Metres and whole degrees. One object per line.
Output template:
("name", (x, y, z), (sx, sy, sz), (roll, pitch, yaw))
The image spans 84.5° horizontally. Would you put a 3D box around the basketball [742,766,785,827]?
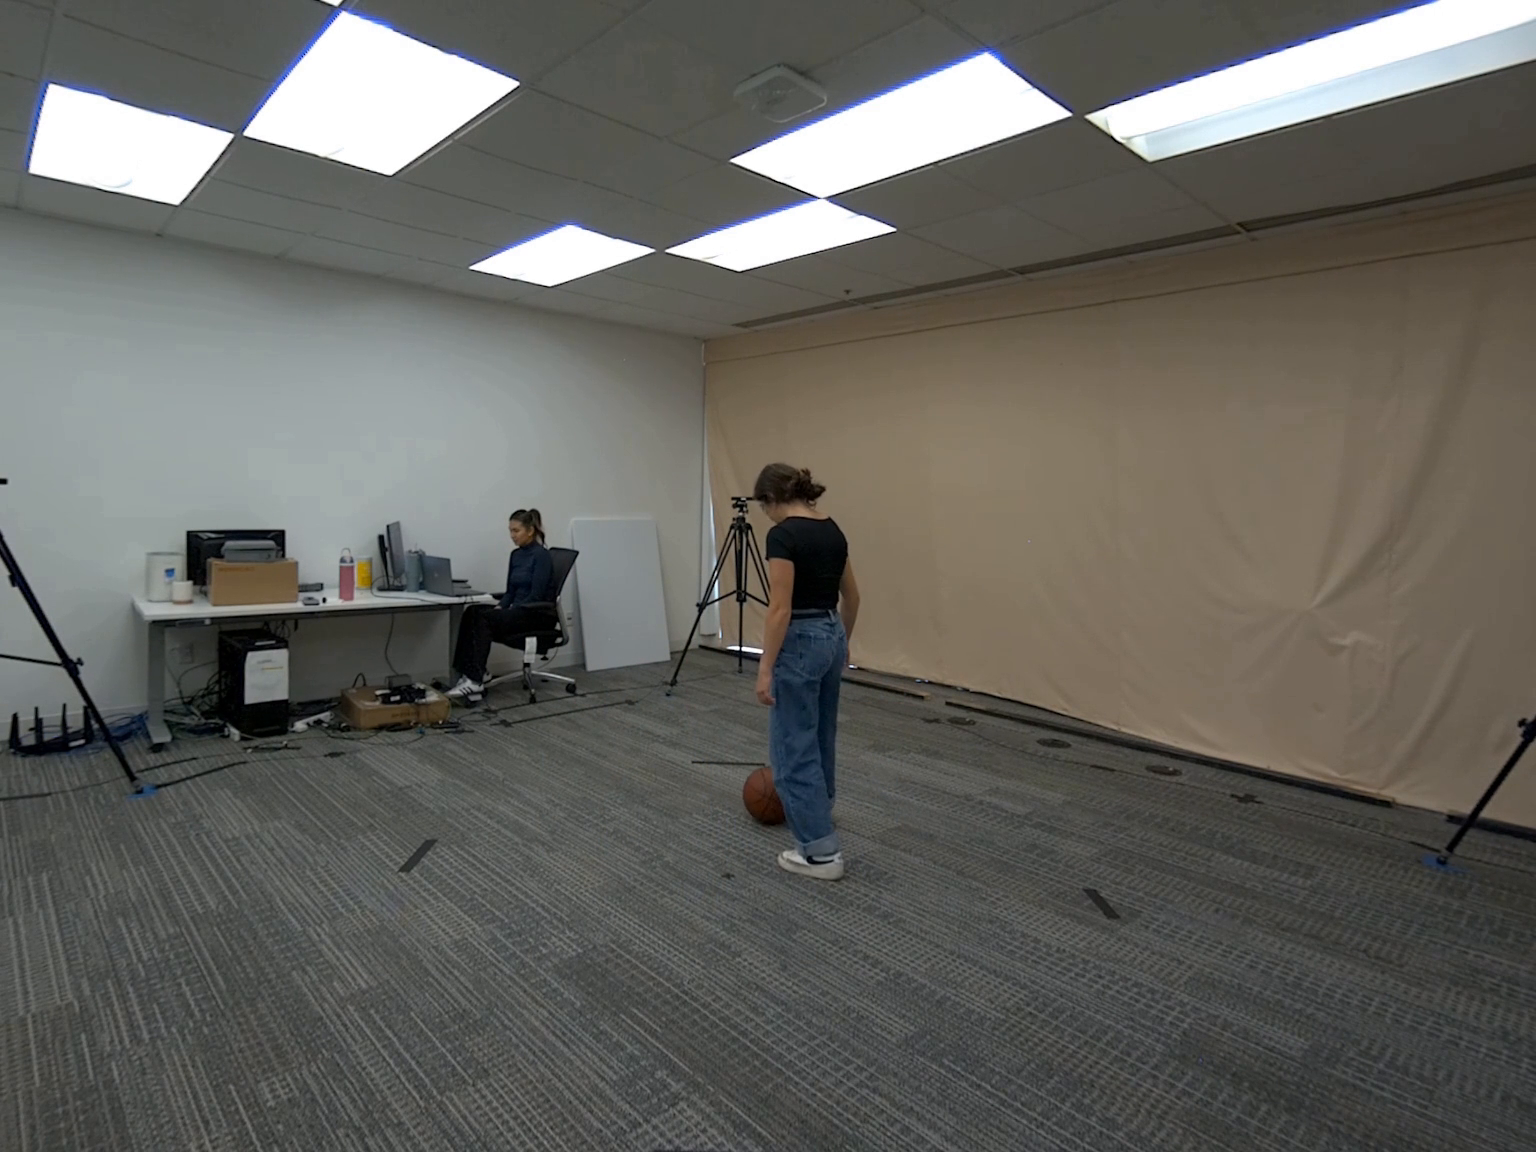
("basketball", (0.003, 0.940, 3.644), (0.236, 0.235, 0.237), (1, 4, -1))
